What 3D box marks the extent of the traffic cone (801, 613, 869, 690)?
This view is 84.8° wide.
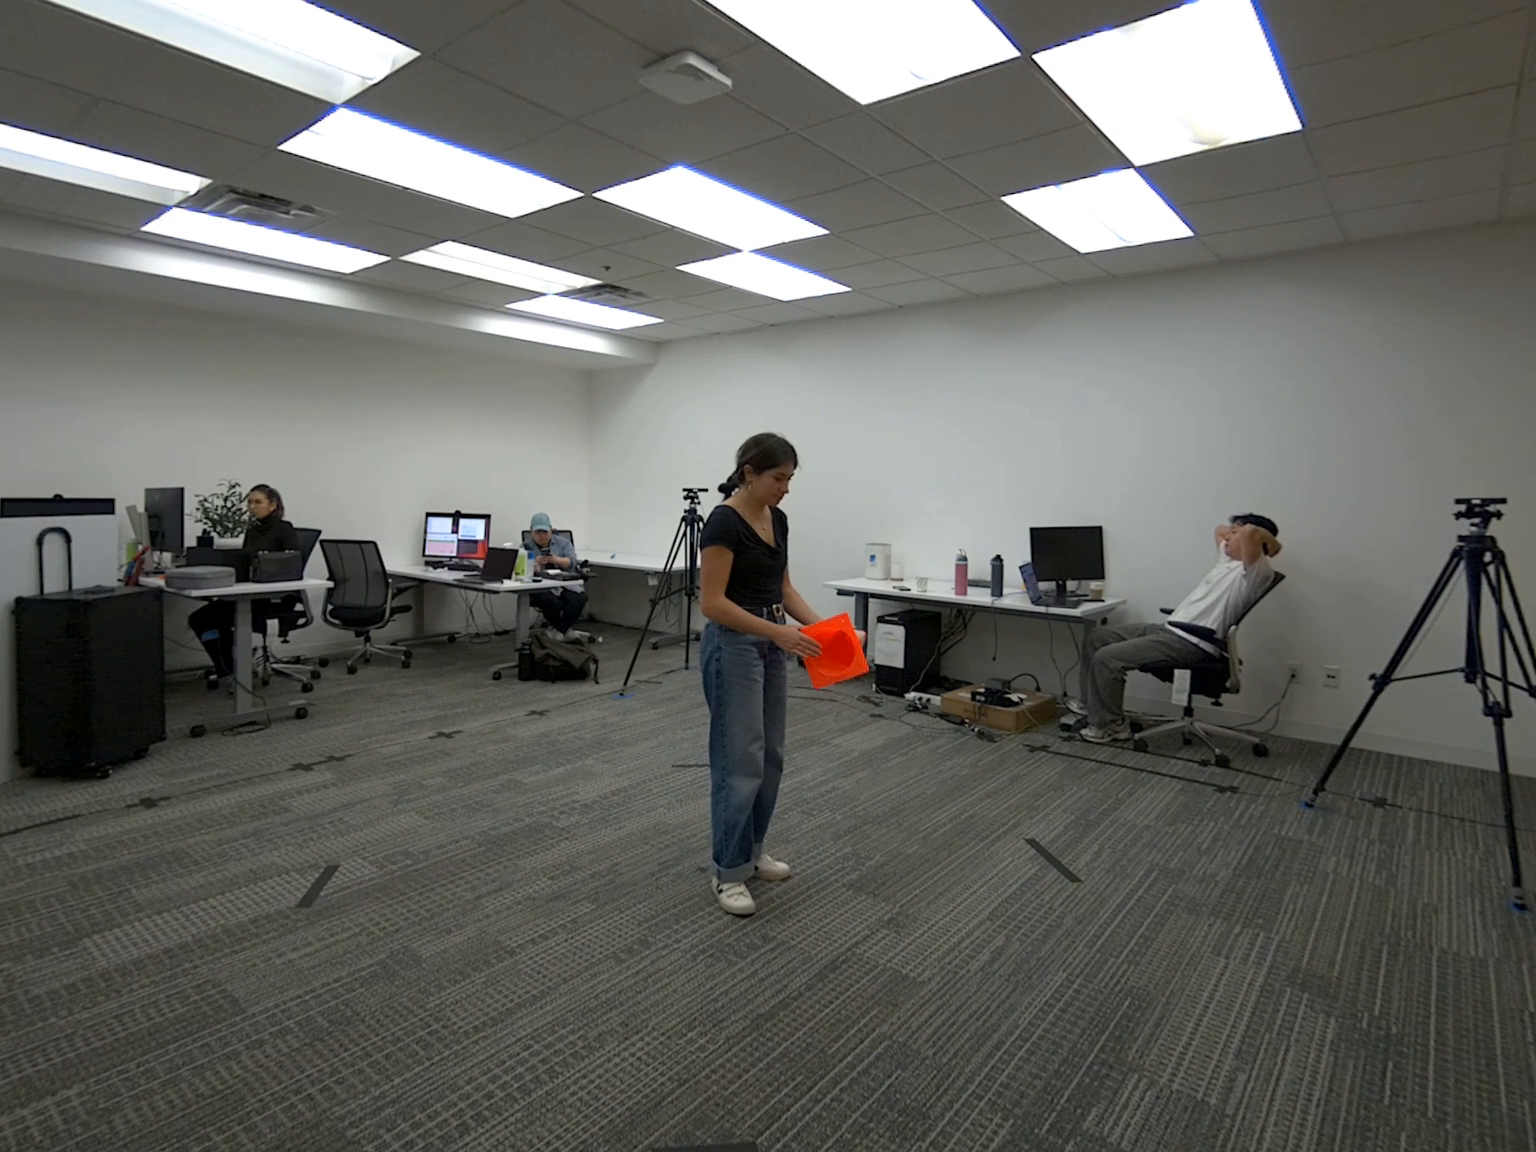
[{"bbox_3d":[0.282,0.234,2.876,0.206,0.207,0.374,-23,-8,25],"label":"traffic cone"}]
